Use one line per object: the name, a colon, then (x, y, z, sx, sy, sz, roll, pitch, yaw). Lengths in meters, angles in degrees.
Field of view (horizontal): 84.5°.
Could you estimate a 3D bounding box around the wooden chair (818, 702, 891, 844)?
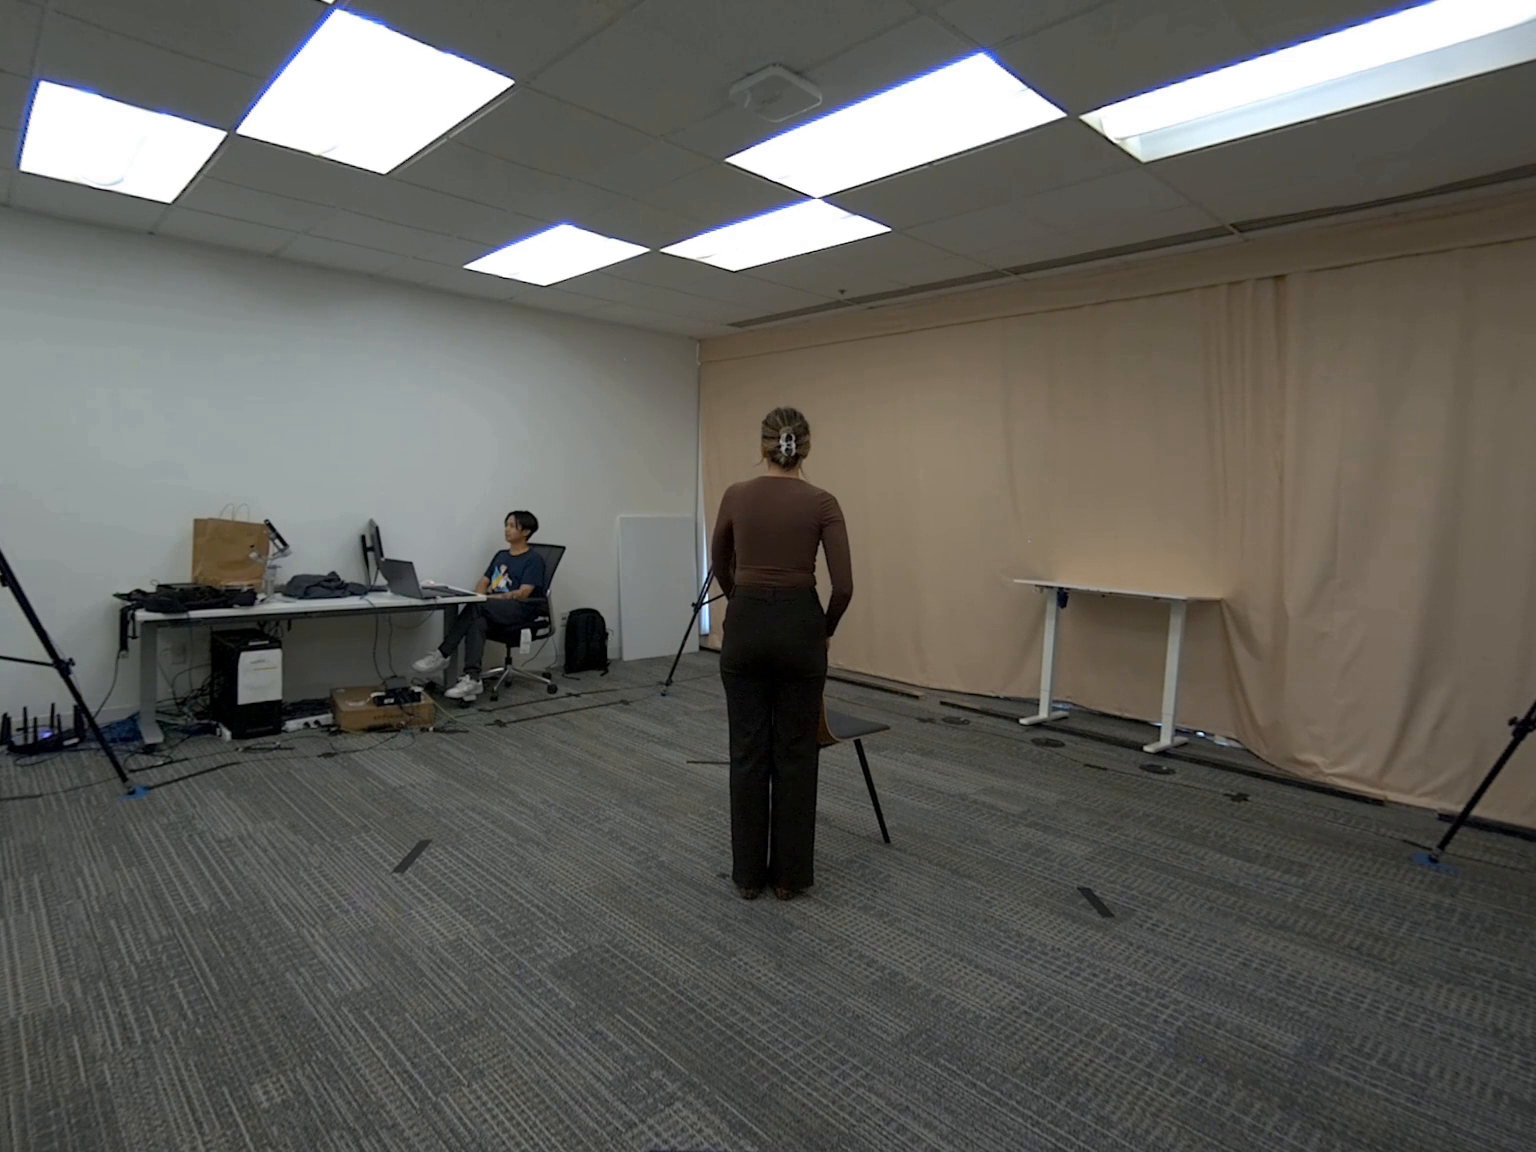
wooden chair: (0.195, 0.658, 3.454, 0.512, 0.874, 0.490, -6, 7, -39)
